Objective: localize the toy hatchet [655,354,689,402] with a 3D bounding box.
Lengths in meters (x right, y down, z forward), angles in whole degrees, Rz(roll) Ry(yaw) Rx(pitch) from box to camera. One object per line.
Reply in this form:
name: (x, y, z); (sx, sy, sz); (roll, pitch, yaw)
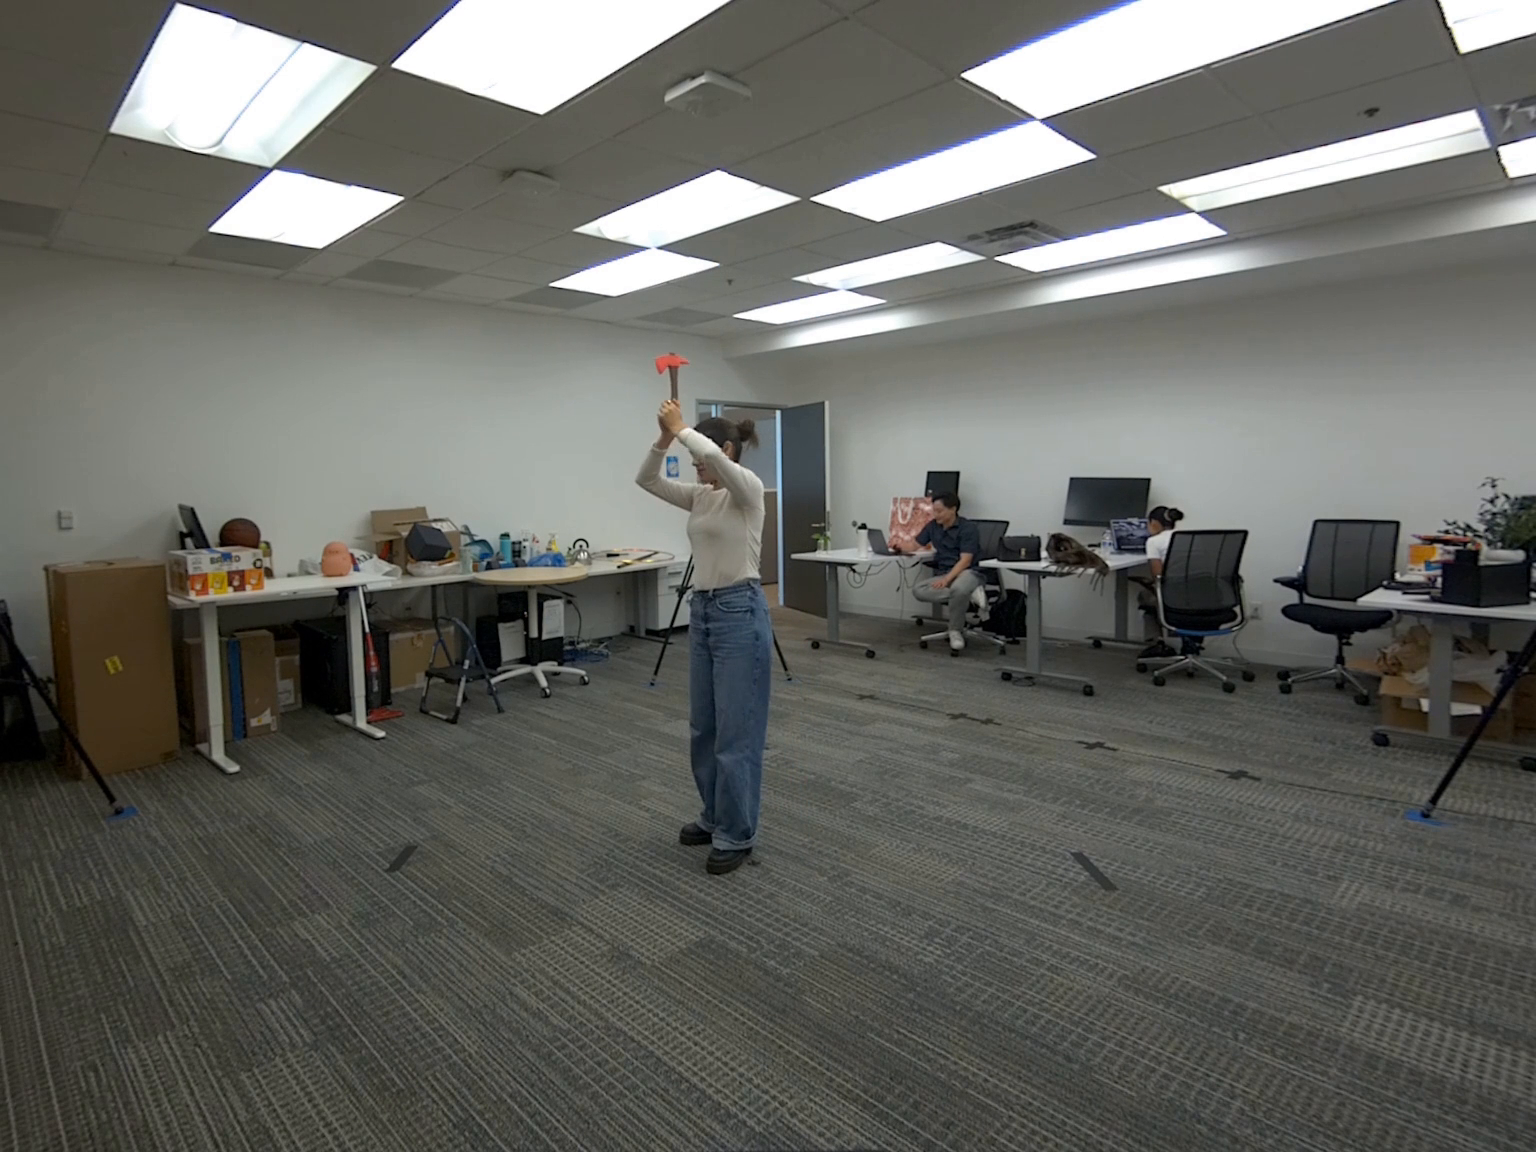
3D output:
toy hatchet: (-0.367, -0.687, 3.091); (0.127, 0.272, 0.030); (19, -13, -25)
